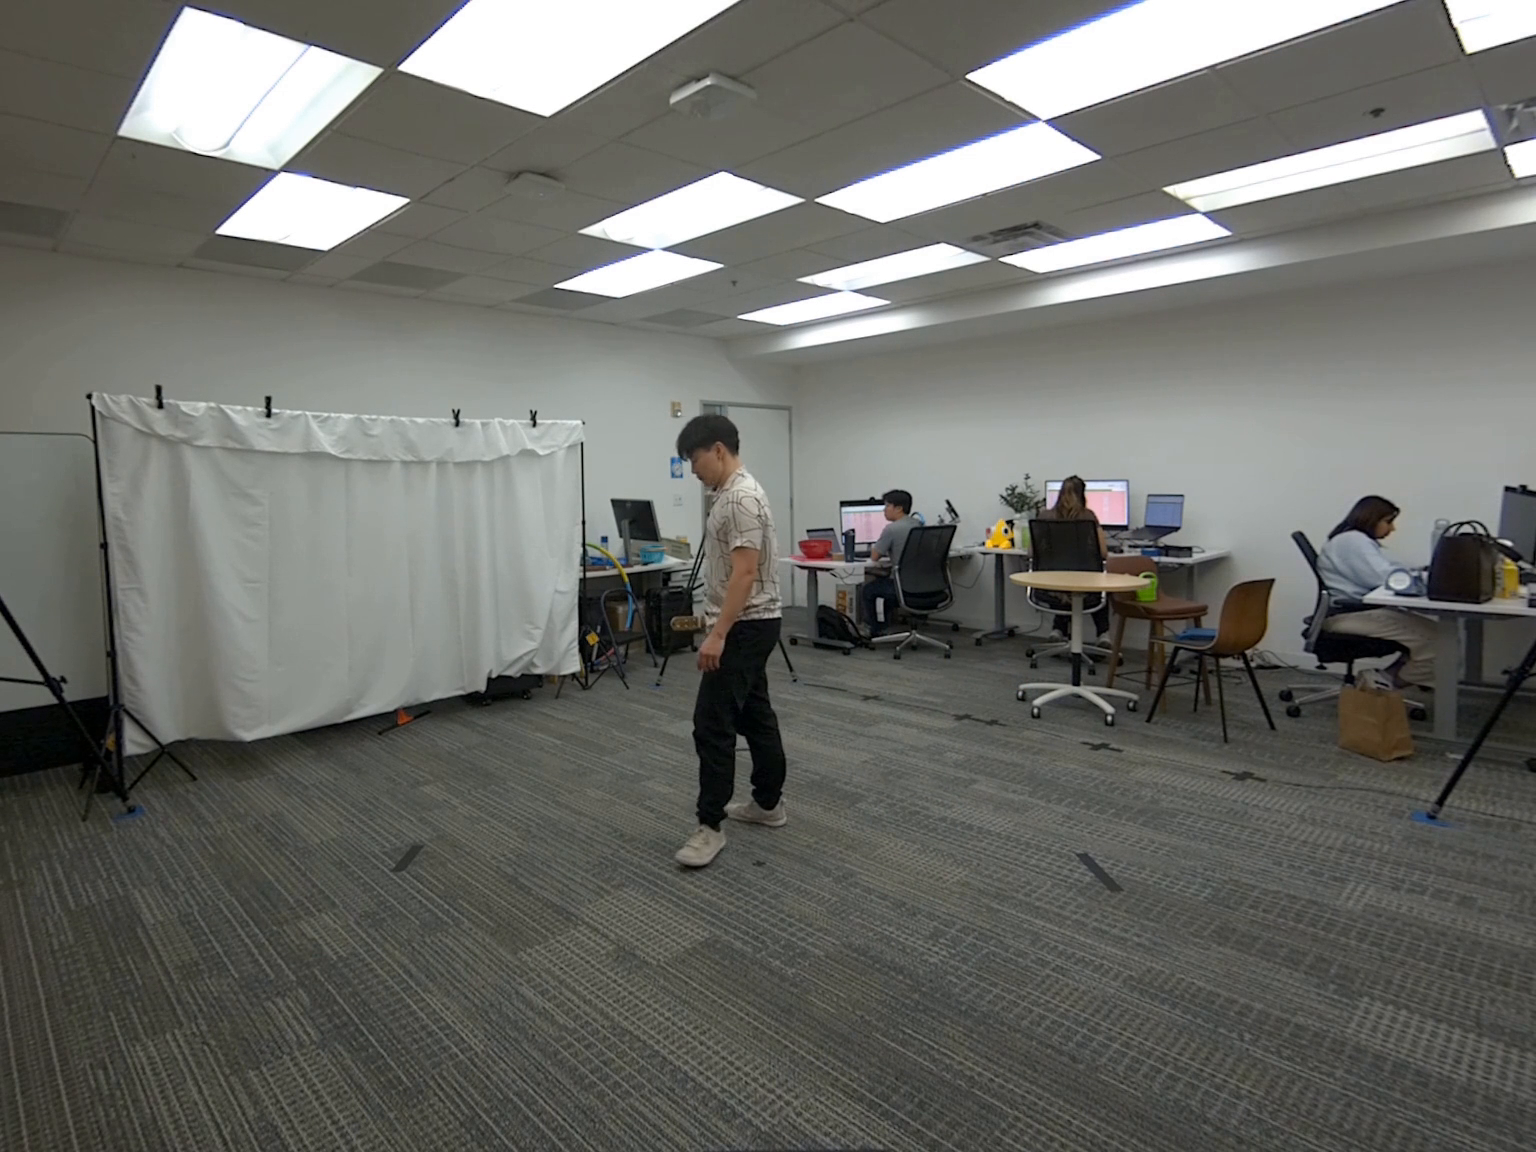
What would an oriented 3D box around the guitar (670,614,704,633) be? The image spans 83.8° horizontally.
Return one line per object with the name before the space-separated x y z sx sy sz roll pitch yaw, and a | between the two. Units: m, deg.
guitar | -0.190 0.175 3.717 0.484 0.194 0.072 9 -5 -29
